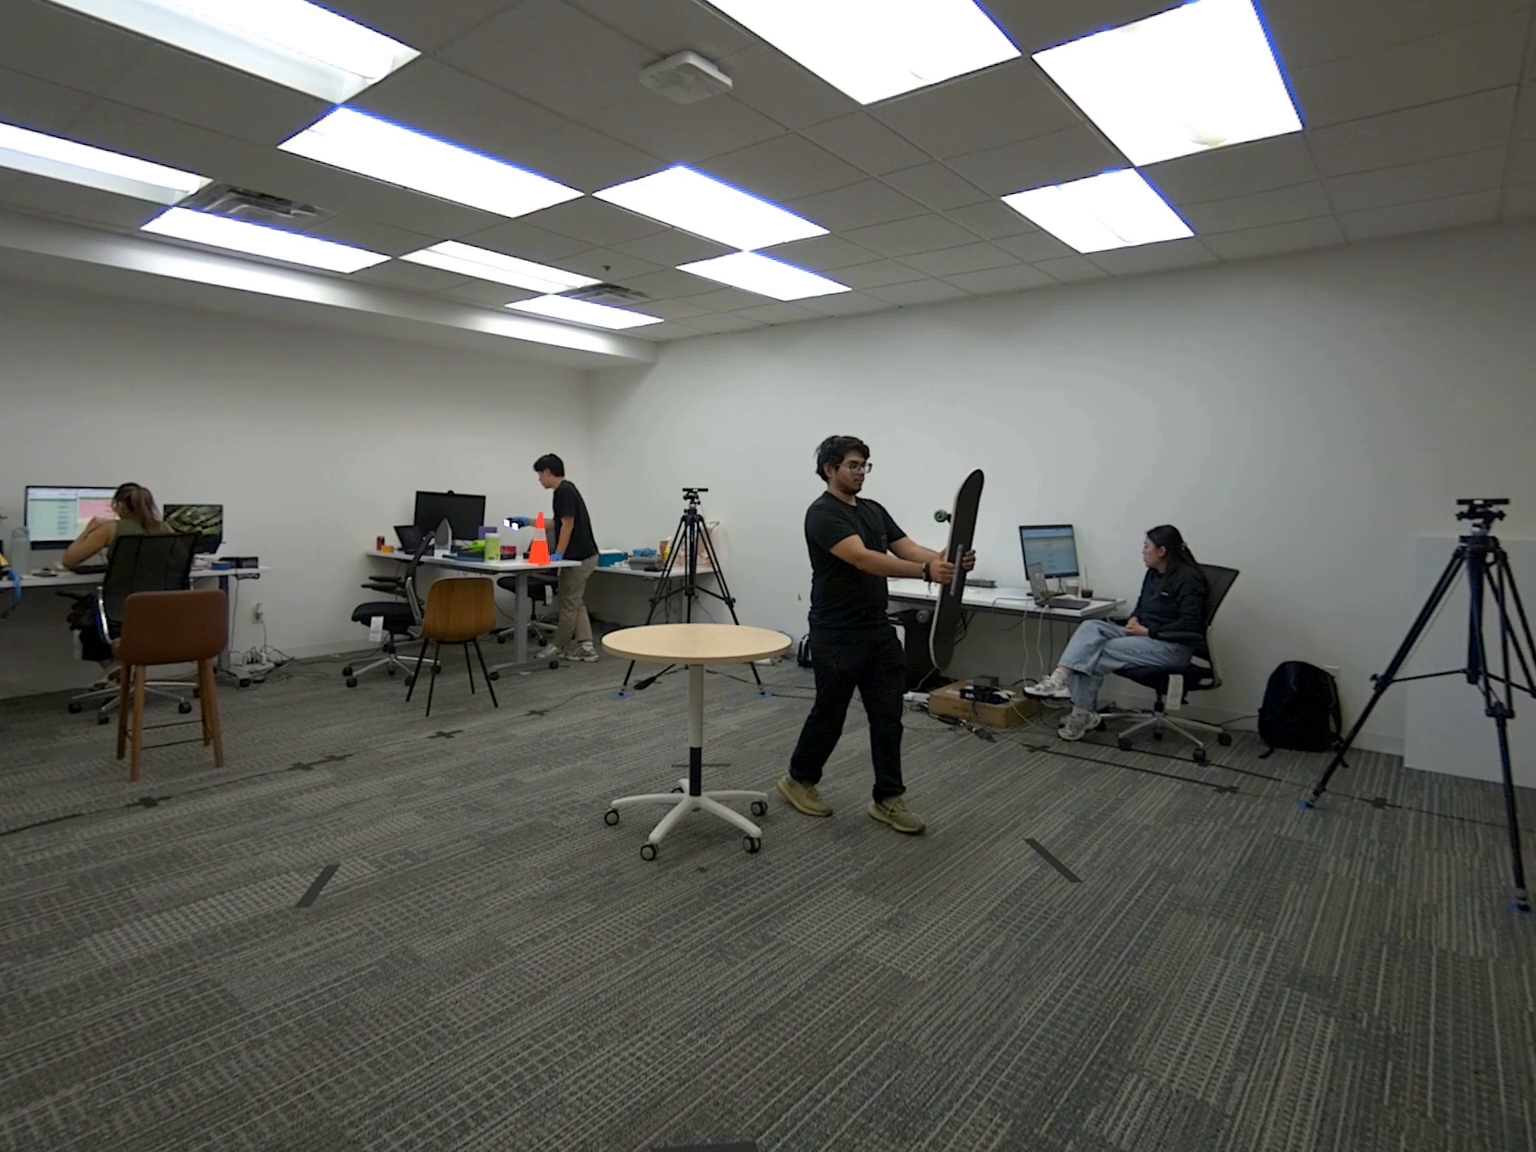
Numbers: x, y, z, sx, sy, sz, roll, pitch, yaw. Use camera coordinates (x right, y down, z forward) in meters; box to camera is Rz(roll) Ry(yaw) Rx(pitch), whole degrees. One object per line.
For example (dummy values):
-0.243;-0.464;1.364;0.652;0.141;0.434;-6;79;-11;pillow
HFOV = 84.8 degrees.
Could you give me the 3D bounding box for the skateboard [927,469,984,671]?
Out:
0.697;-0.036;3.308;0.114;0.780;0.187;15;11;39;skateboard
